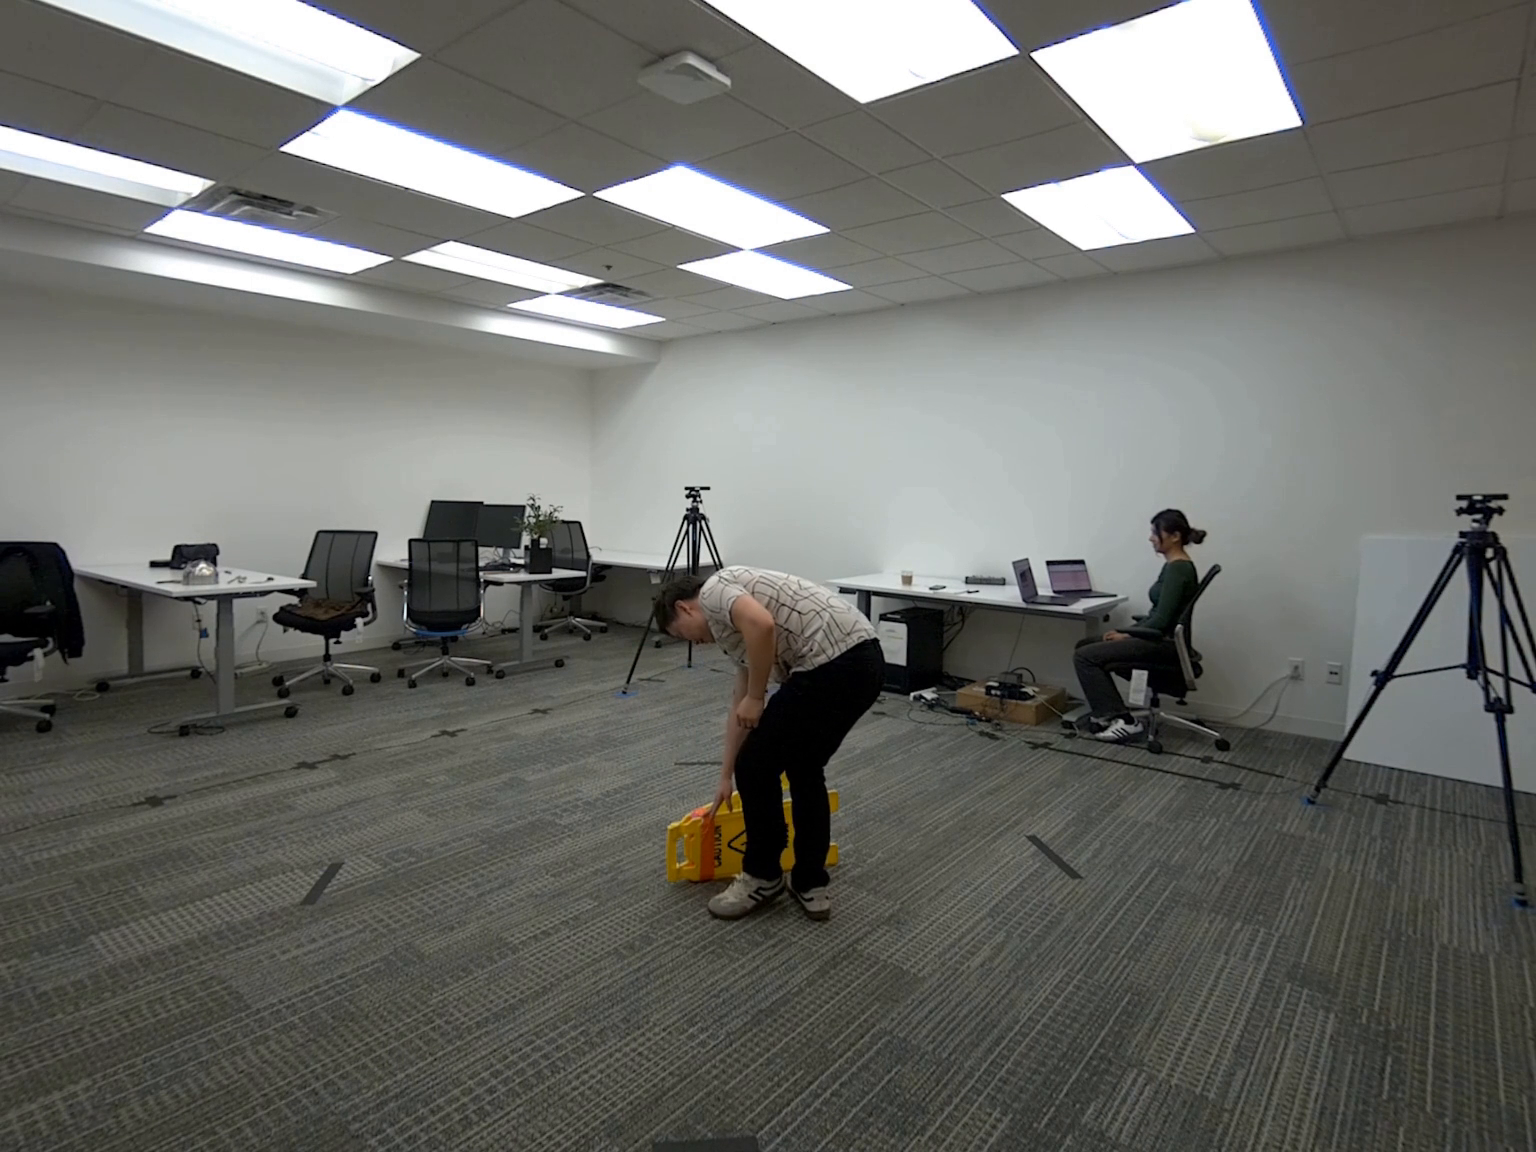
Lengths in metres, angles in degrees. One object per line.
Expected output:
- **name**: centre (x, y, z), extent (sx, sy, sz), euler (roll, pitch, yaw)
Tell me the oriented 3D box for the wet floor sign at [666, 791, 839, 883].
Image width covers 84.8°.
- **wet floor sign**: centre (-0.093, 0.933, 3.108), extent (0.629, 0.281, 0.299), euler (-5, 8, -33)
